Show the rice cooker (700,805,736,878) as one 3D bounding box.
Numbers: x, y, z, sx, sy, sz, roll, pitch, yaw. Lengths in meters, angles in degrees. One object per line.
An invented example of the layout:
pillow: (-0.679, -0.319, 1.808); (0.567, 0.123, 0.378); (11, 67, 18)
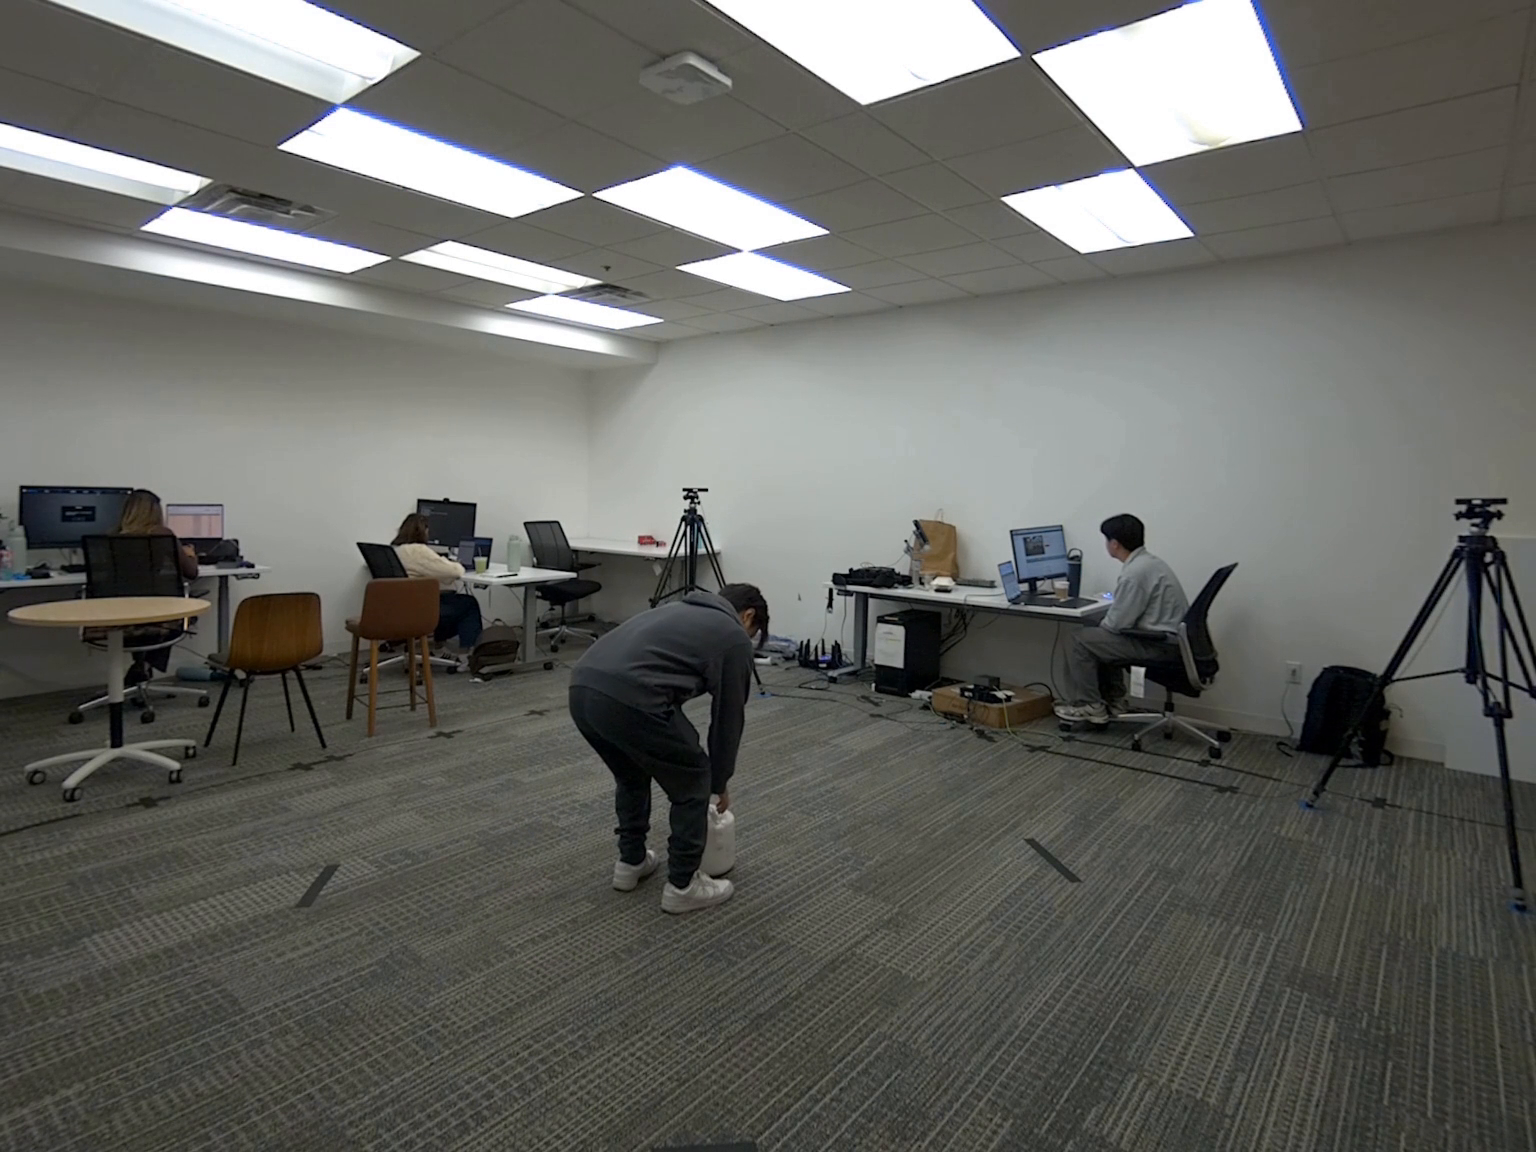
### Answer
rice cooker: (-0.236, 0.950, 3.120); (0.212, 0.232, 0.227); (-3, 5, -28)
